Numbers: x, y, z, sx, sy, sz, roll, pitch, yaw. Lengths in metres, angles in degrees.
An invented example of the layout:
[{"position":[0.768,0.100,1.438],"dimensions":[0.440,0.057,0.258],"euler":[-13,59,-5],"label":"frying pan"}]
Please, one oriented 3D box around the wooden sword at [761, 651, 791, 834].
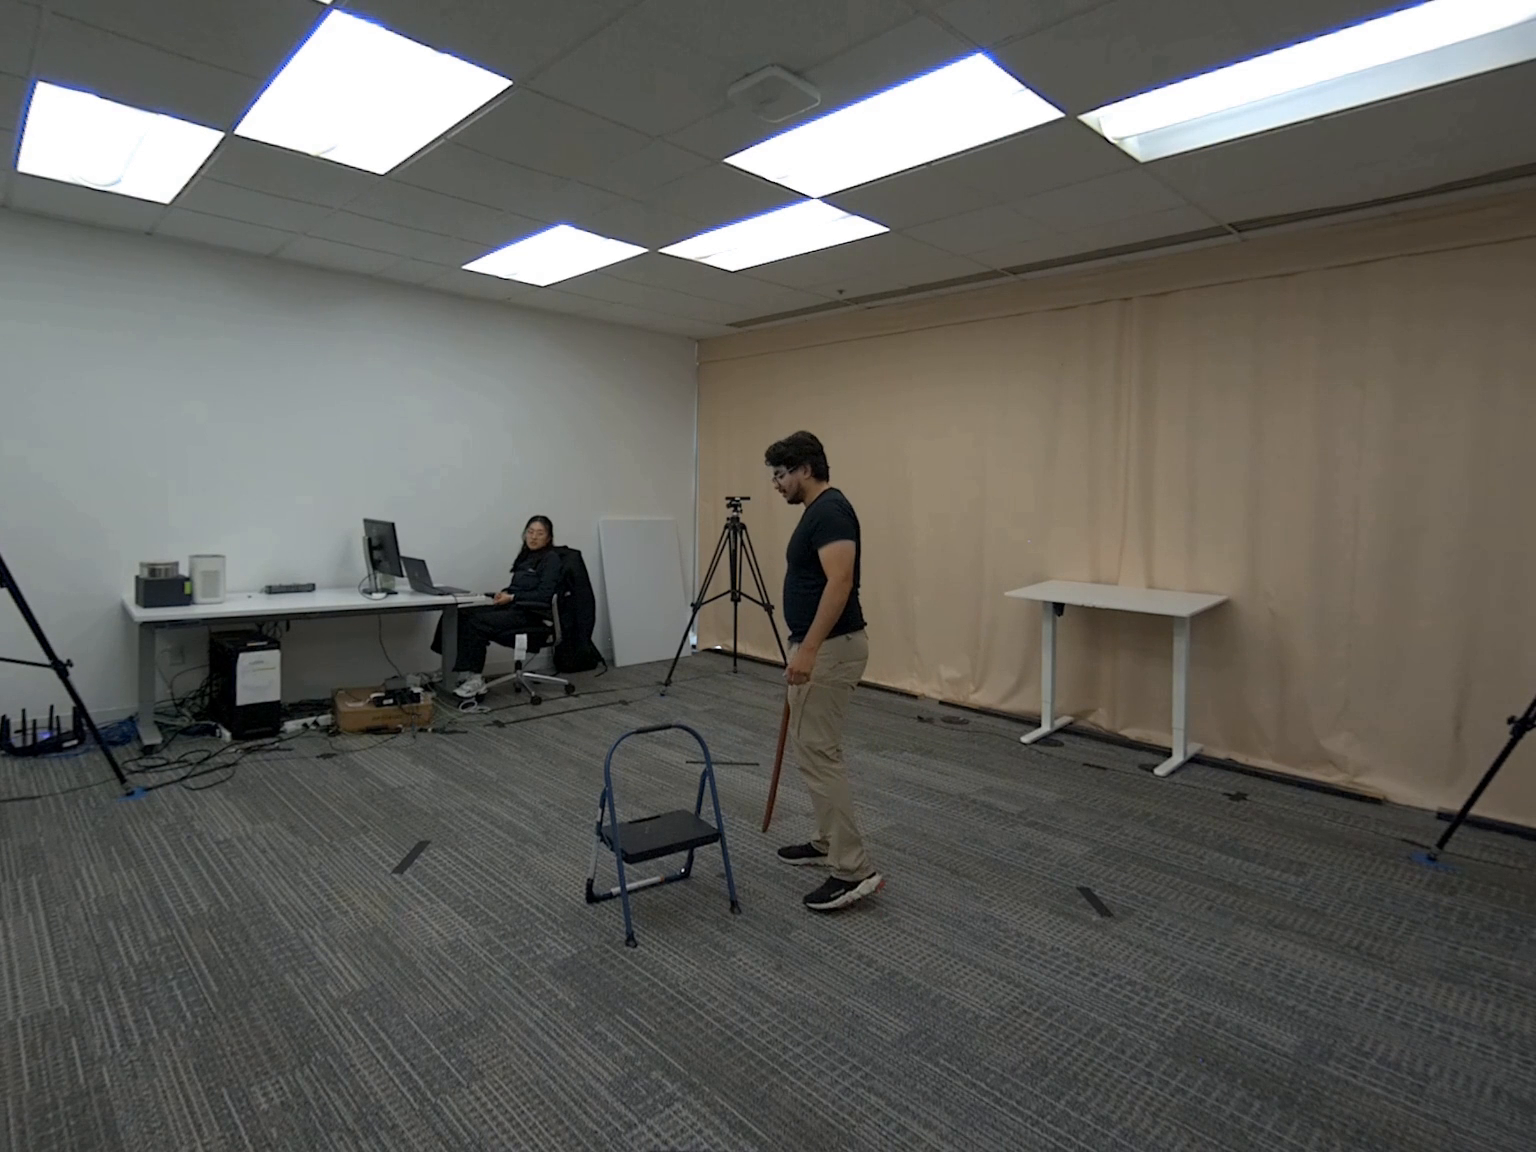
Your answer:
[{"position":[0.075,0.588,3.634],"dimensions":[0.050,1.032,0.024],"euler":[19,-15,-27],"label":"wooden sword"}]
